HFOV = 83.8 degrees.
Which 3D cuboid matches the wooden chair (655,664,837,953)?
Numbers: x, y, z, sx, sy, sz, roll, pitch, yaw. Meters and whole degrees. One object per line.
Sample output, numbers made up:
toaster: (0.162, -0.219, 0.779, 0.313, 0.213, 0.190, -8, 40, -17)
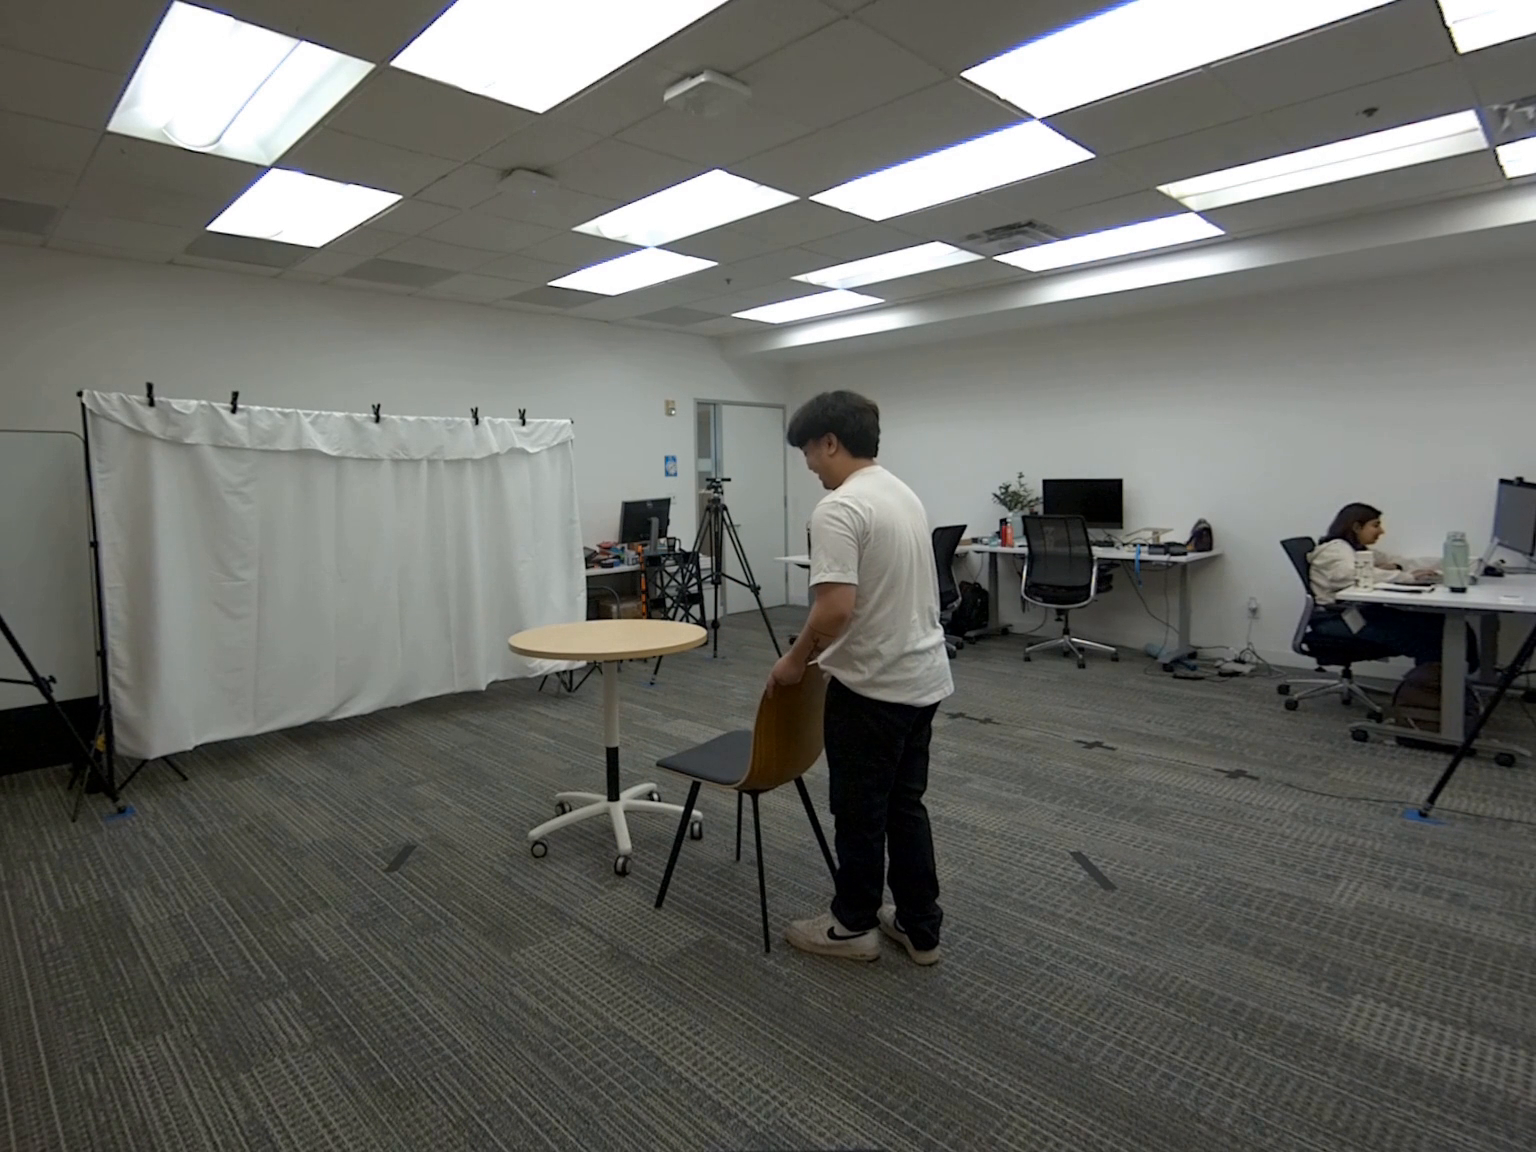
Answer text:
wooden chair: (-0.063, 0.650, 2.795, 0.540, 0.872, 0.466, 9, 10, 37)
